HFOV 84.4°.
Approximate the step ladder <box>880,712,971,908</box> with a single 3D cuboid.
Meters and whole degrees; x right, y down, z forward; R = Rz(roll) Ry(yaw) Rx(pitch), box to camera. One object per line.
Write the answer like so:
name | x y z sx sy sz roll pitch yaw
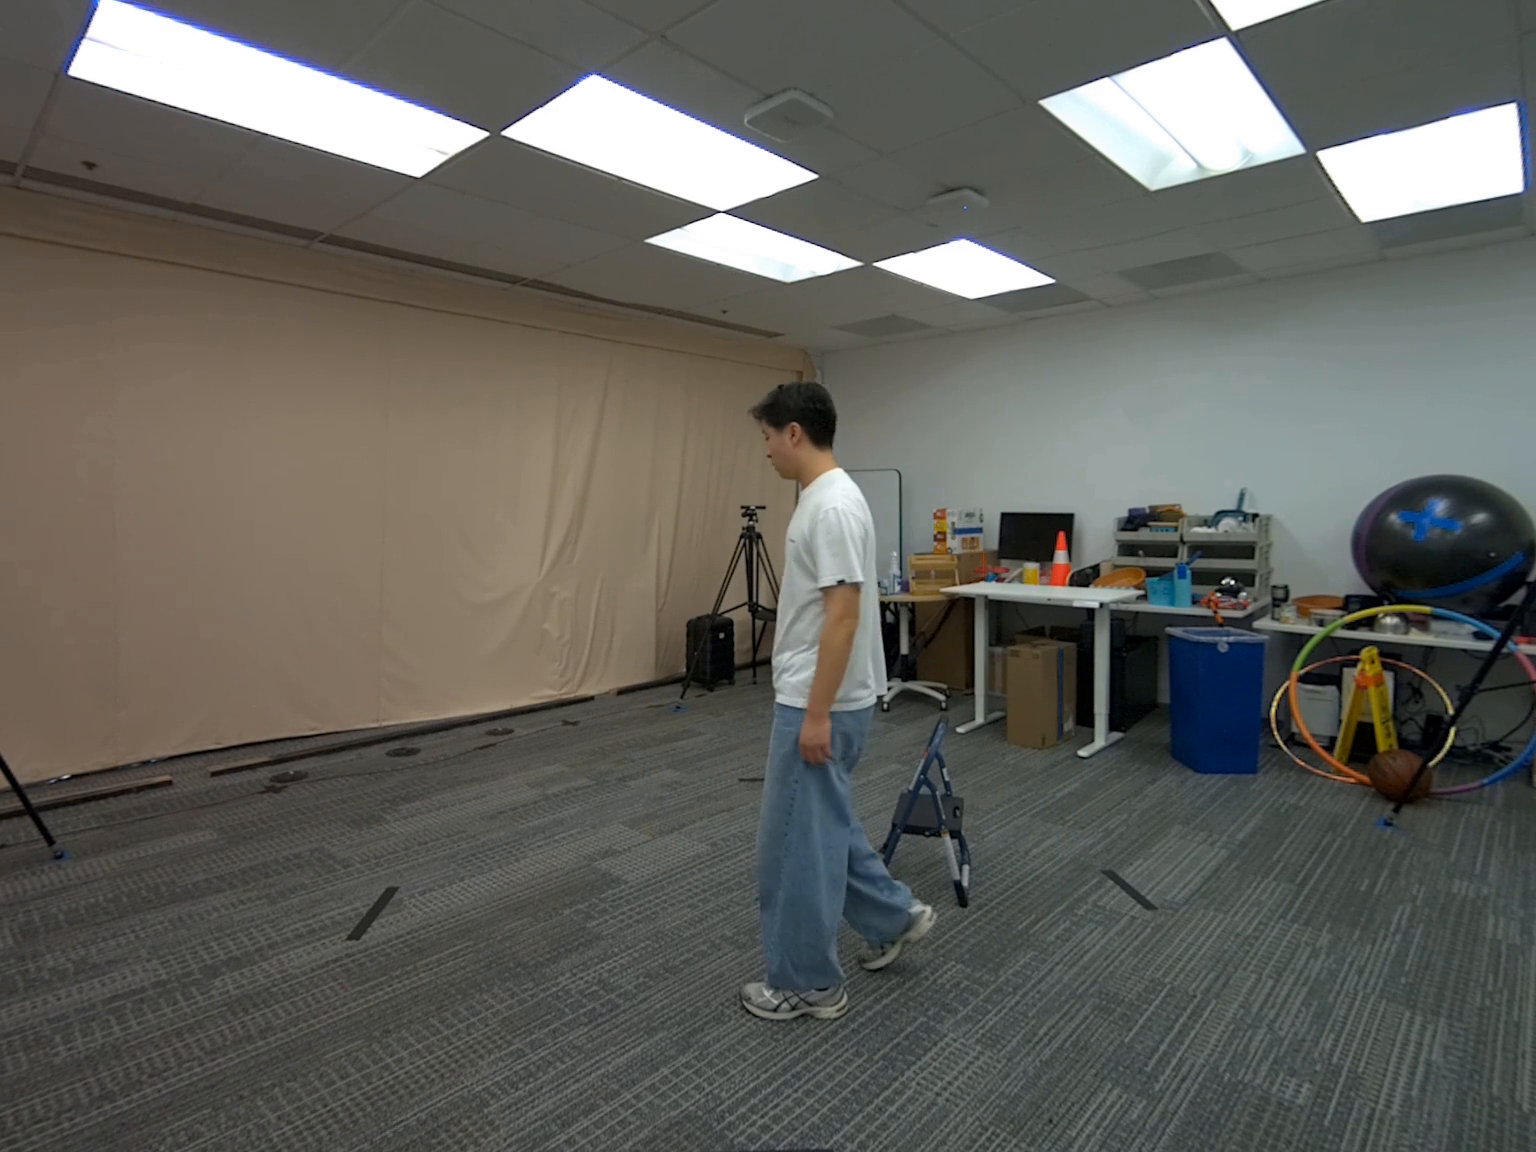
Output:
step ladder | 0.577 0.826 3.134 0.355 0.605 0.424 1 3 16
